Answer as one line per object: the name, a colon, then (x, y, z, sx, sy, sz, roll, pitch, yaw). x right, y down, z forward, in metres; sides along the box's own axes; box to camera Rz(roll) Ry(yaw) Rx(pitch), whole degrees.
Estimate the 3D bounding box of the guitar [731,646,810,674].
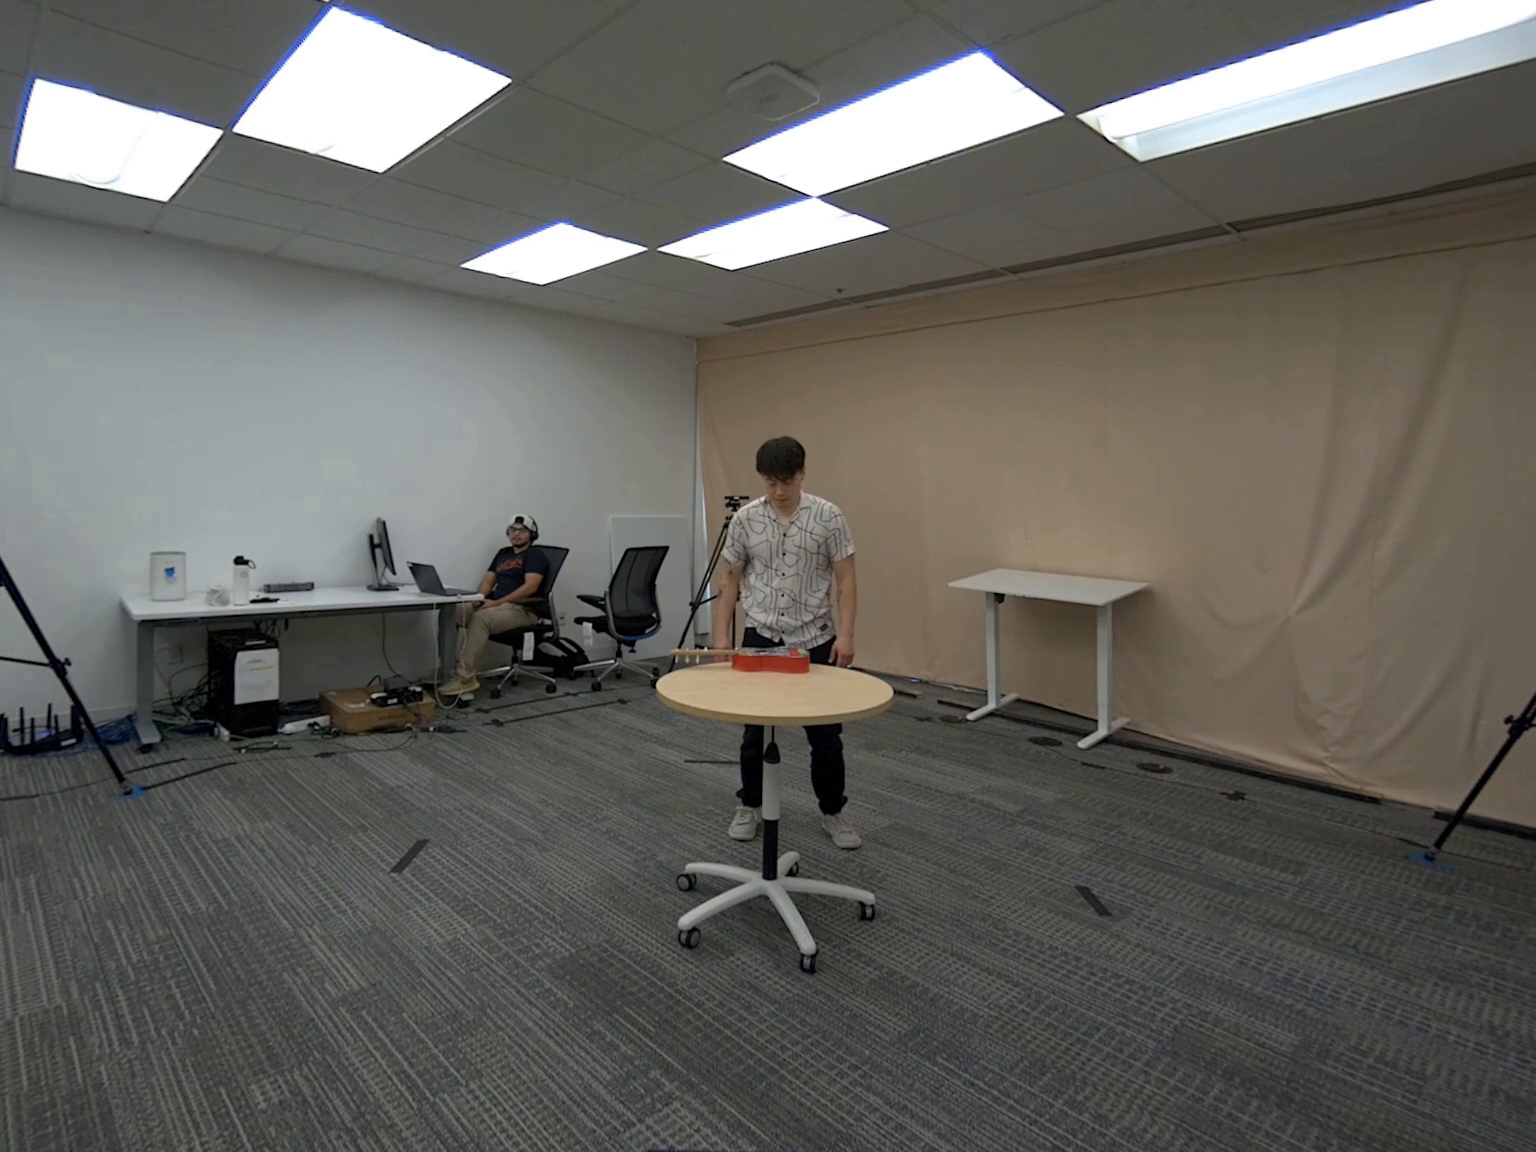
guitar: (-0.098, 0.295, 3.028, 0.499, 0.070, 0.193, 2, 6, 4)
